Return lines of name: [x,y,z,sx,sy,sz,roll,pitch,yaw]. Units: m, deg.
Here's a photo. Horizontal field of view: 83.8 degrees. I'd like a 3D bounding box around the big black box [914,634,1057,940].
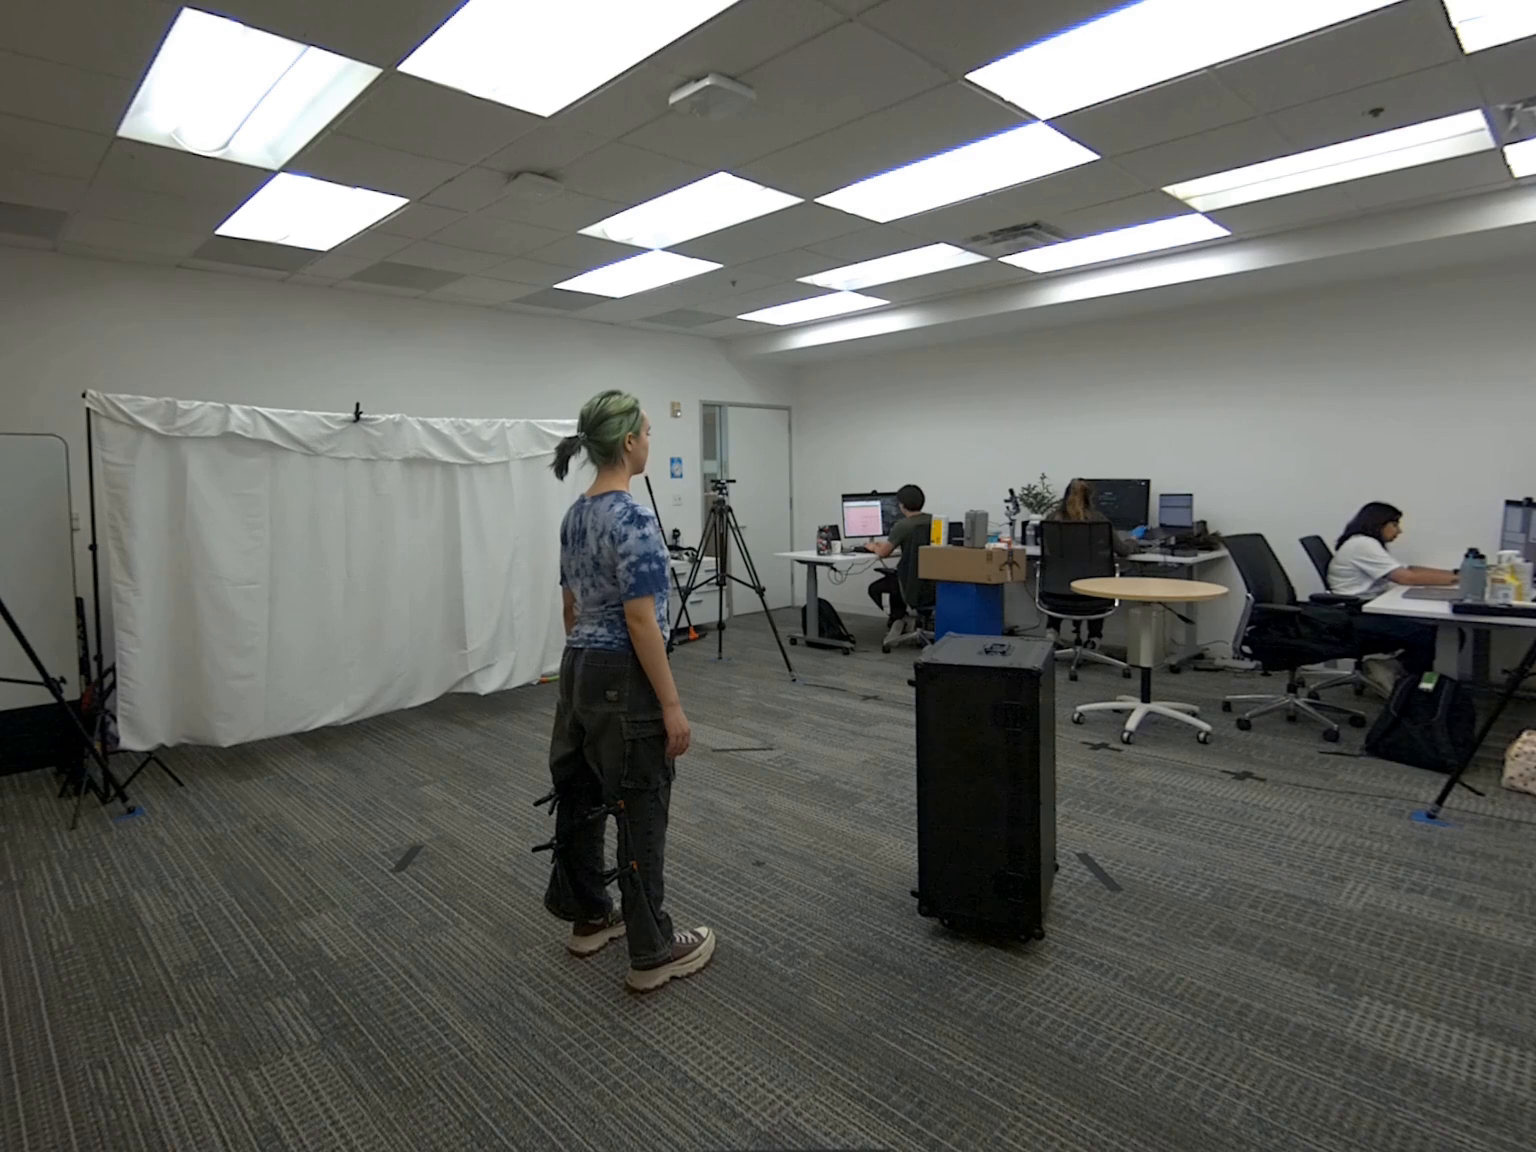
big black box: [0.694,0.655,2.700,0.405,0.859,0.511,0,4,25]
